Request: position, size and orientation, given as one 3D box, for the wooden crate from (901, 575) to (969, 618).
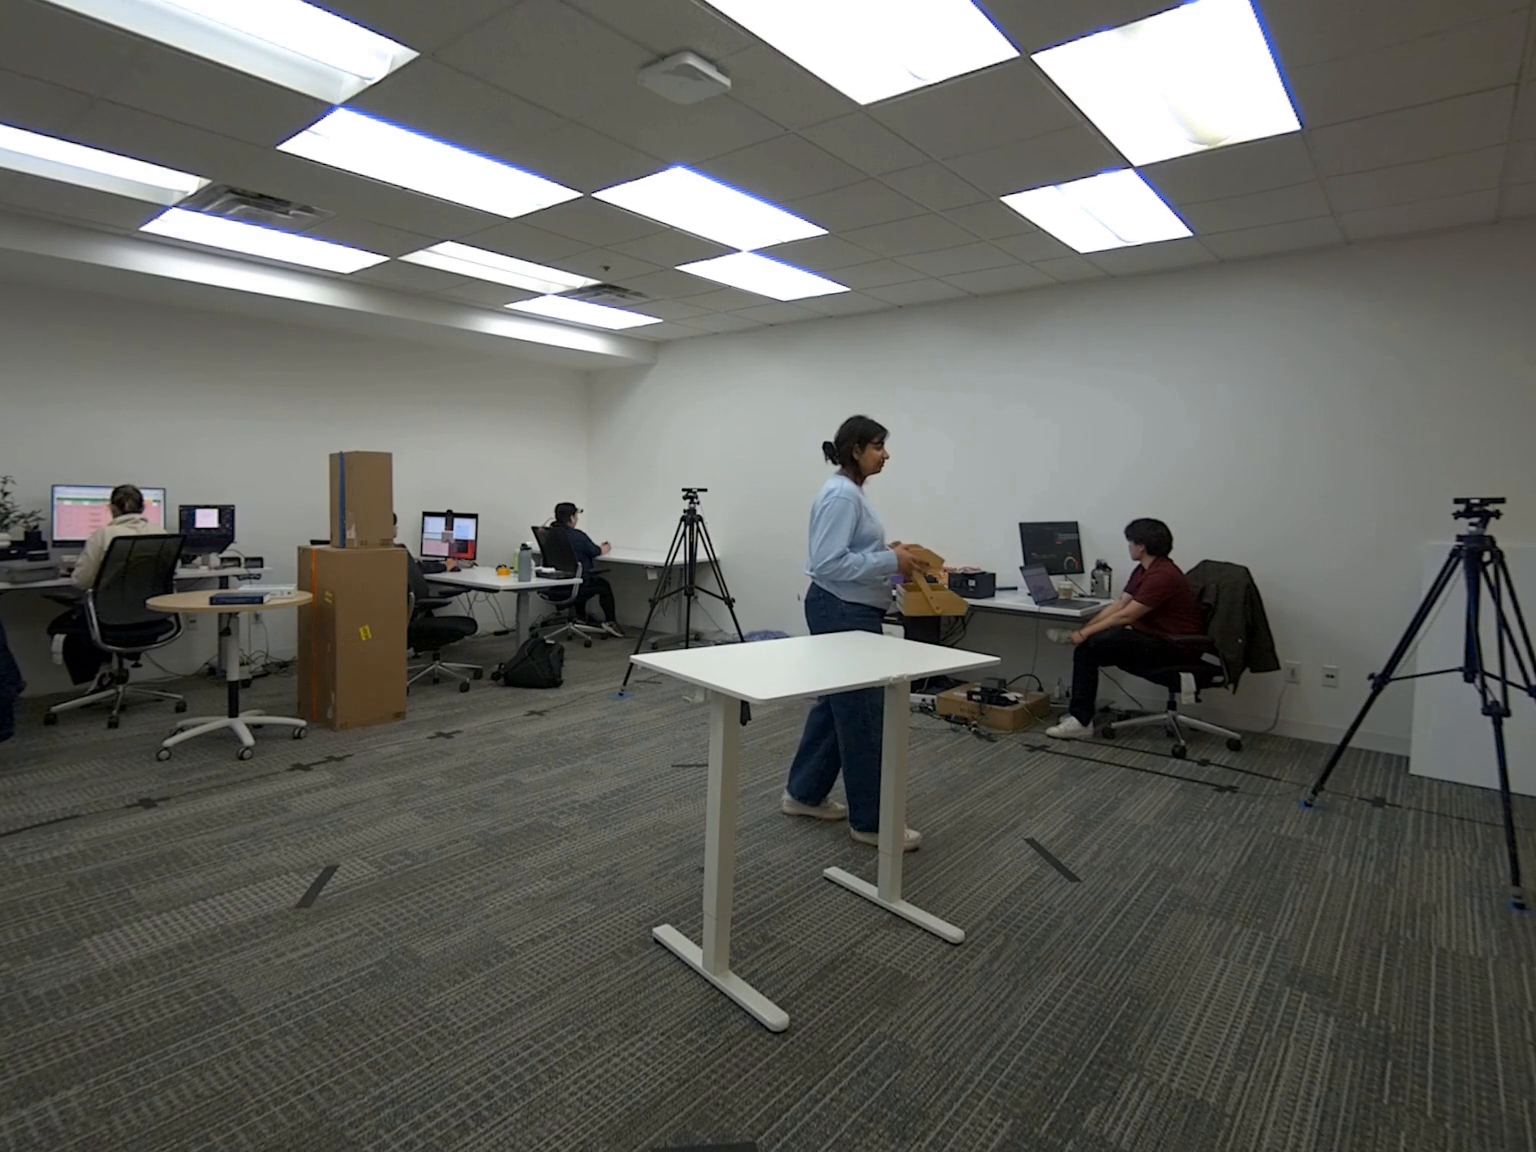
[{"bbox_3d":[0.623,0.006,3.449,0.303,0.272,0.325,-2,5,1],"label":"wooden crate"}]
